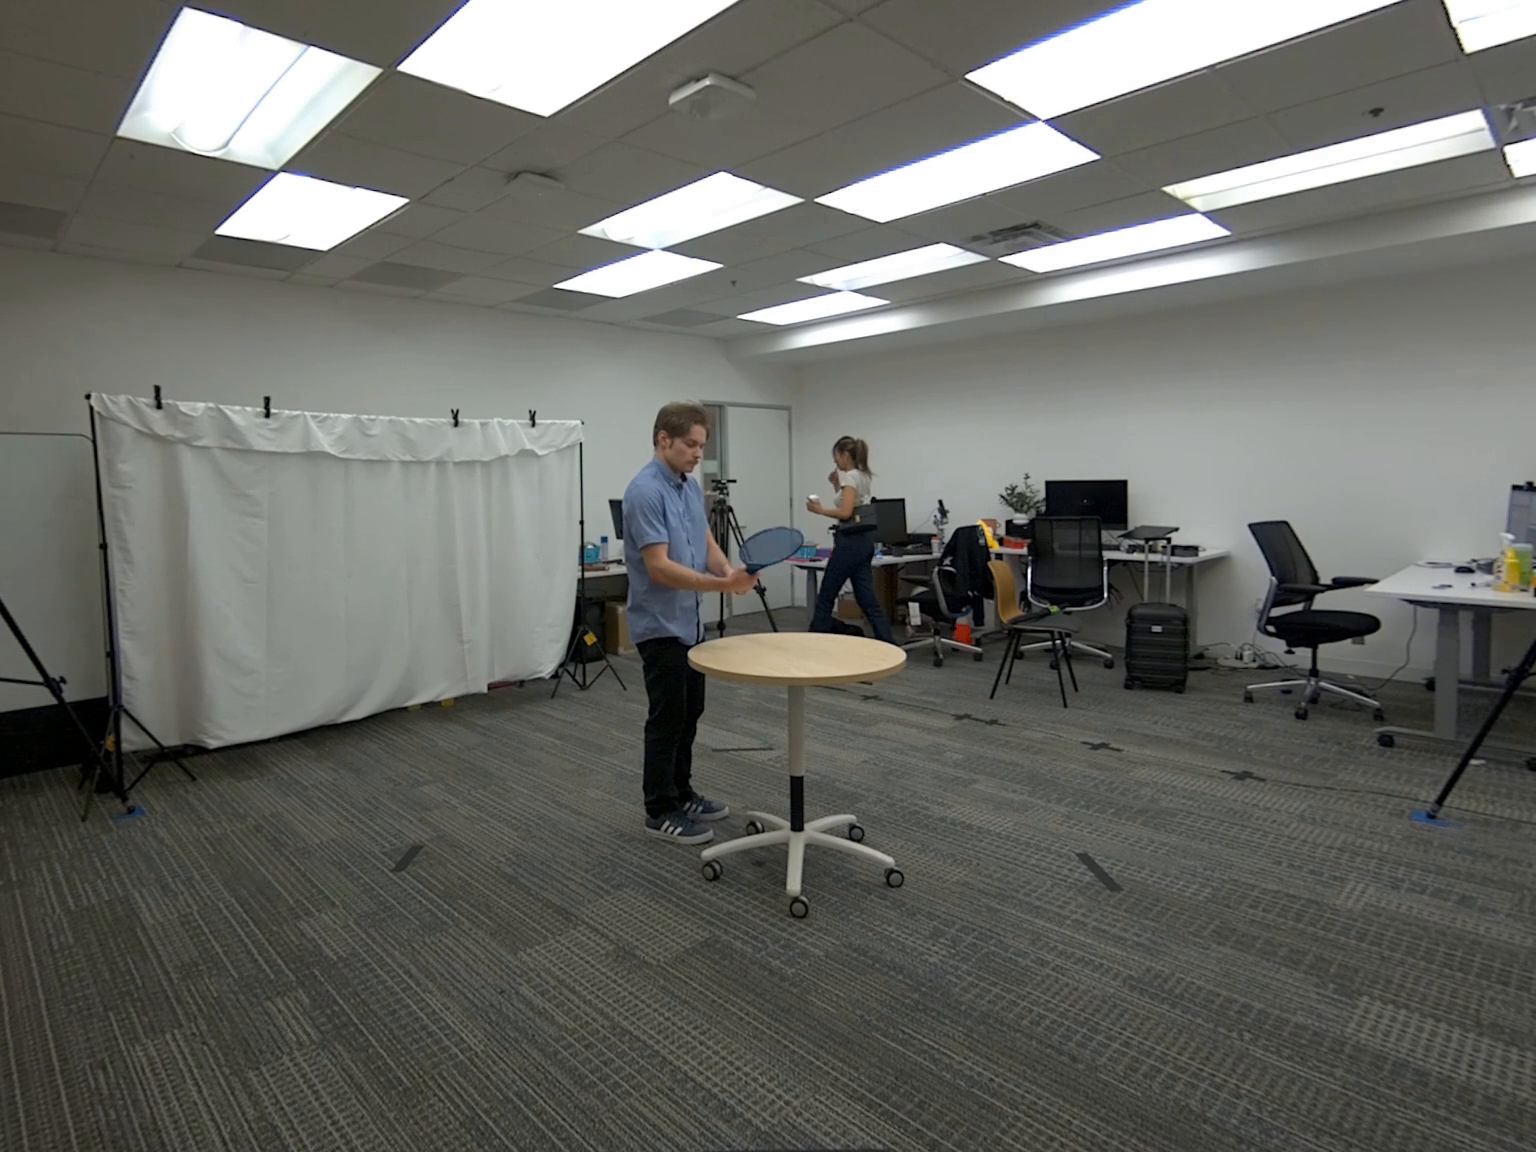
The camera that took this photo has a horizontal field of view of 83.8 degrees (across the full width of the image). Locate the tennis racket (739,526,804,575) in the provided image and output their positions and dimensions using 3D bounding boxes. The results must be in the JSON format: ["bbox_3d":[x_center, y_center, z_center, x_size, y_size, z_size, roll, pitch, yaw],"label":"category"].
[{"bbox_3d":[-0.038,-0.053,2.993,0.207,0.032,0.436,28,-43,-28],"label":"tennis racket"}]
